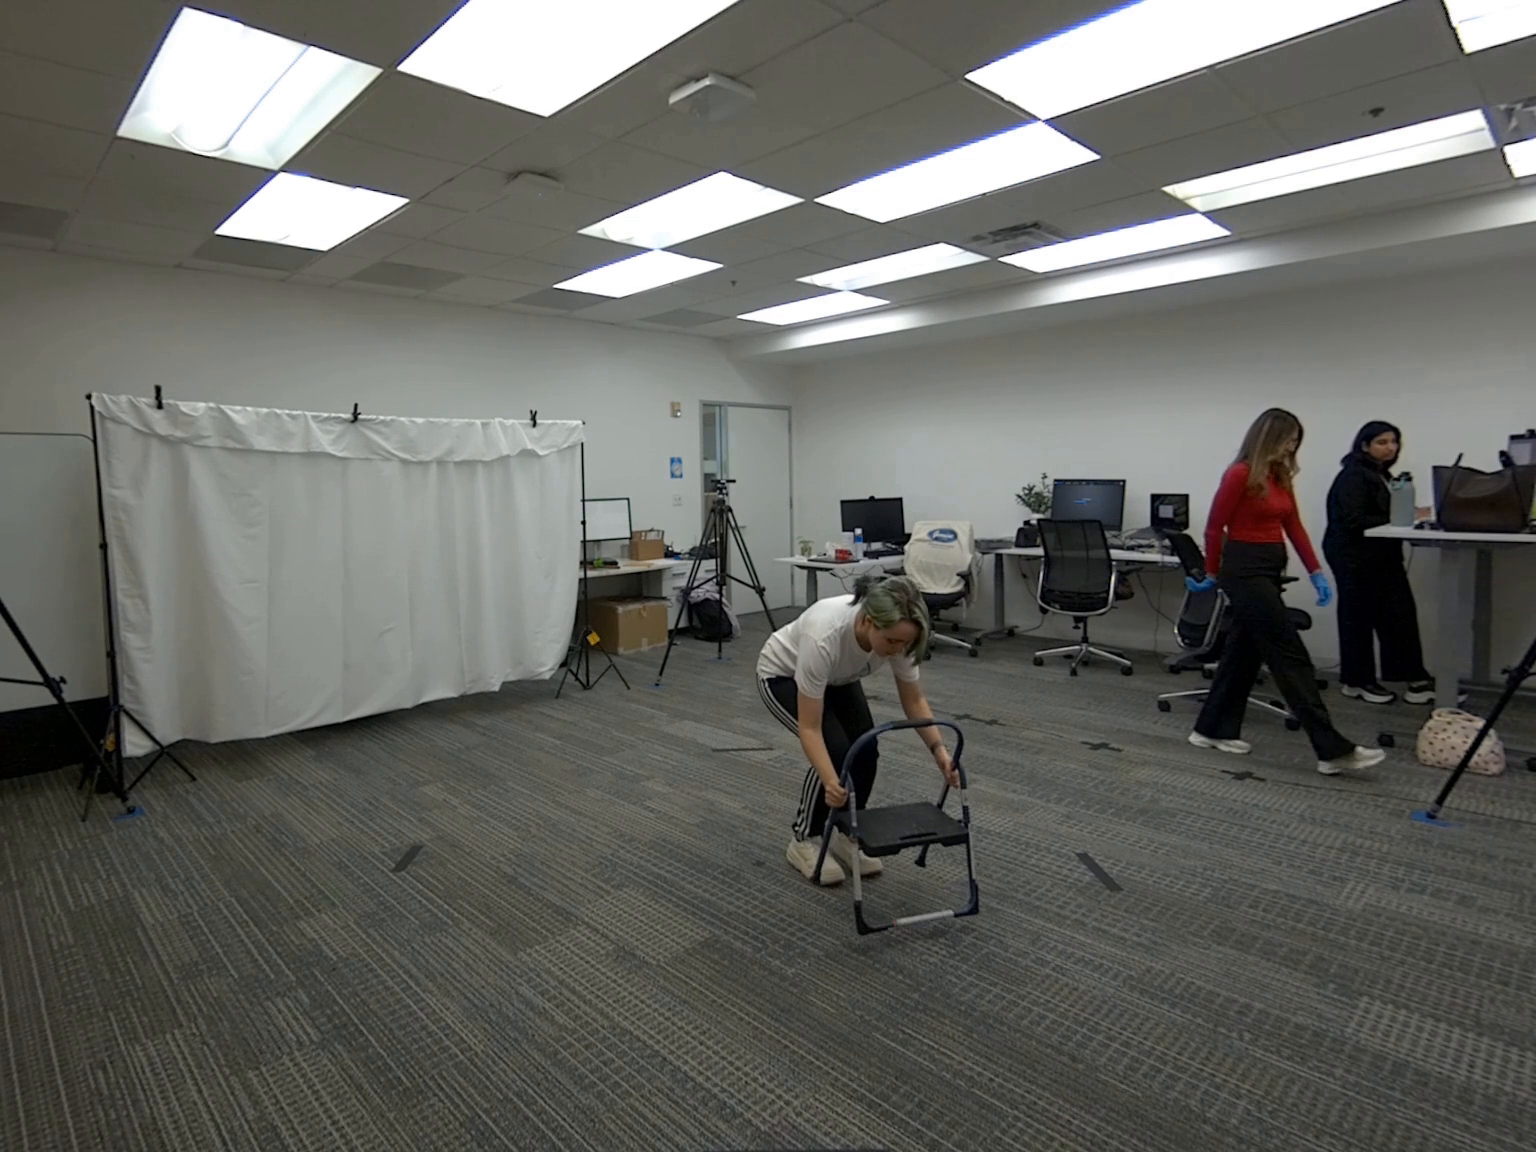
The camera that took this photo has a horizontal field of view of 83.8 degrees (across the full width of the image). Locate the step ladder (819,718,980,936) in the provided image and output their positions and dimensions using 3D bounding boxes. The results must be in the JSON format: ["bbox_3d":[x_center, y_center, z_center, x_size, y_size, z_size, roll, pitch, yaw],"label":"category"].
[{"bbox_3d":[0.408,0.718,2.682,0.423,0.603,0.358,-1,7,-21],"label":"step ladder"}]
